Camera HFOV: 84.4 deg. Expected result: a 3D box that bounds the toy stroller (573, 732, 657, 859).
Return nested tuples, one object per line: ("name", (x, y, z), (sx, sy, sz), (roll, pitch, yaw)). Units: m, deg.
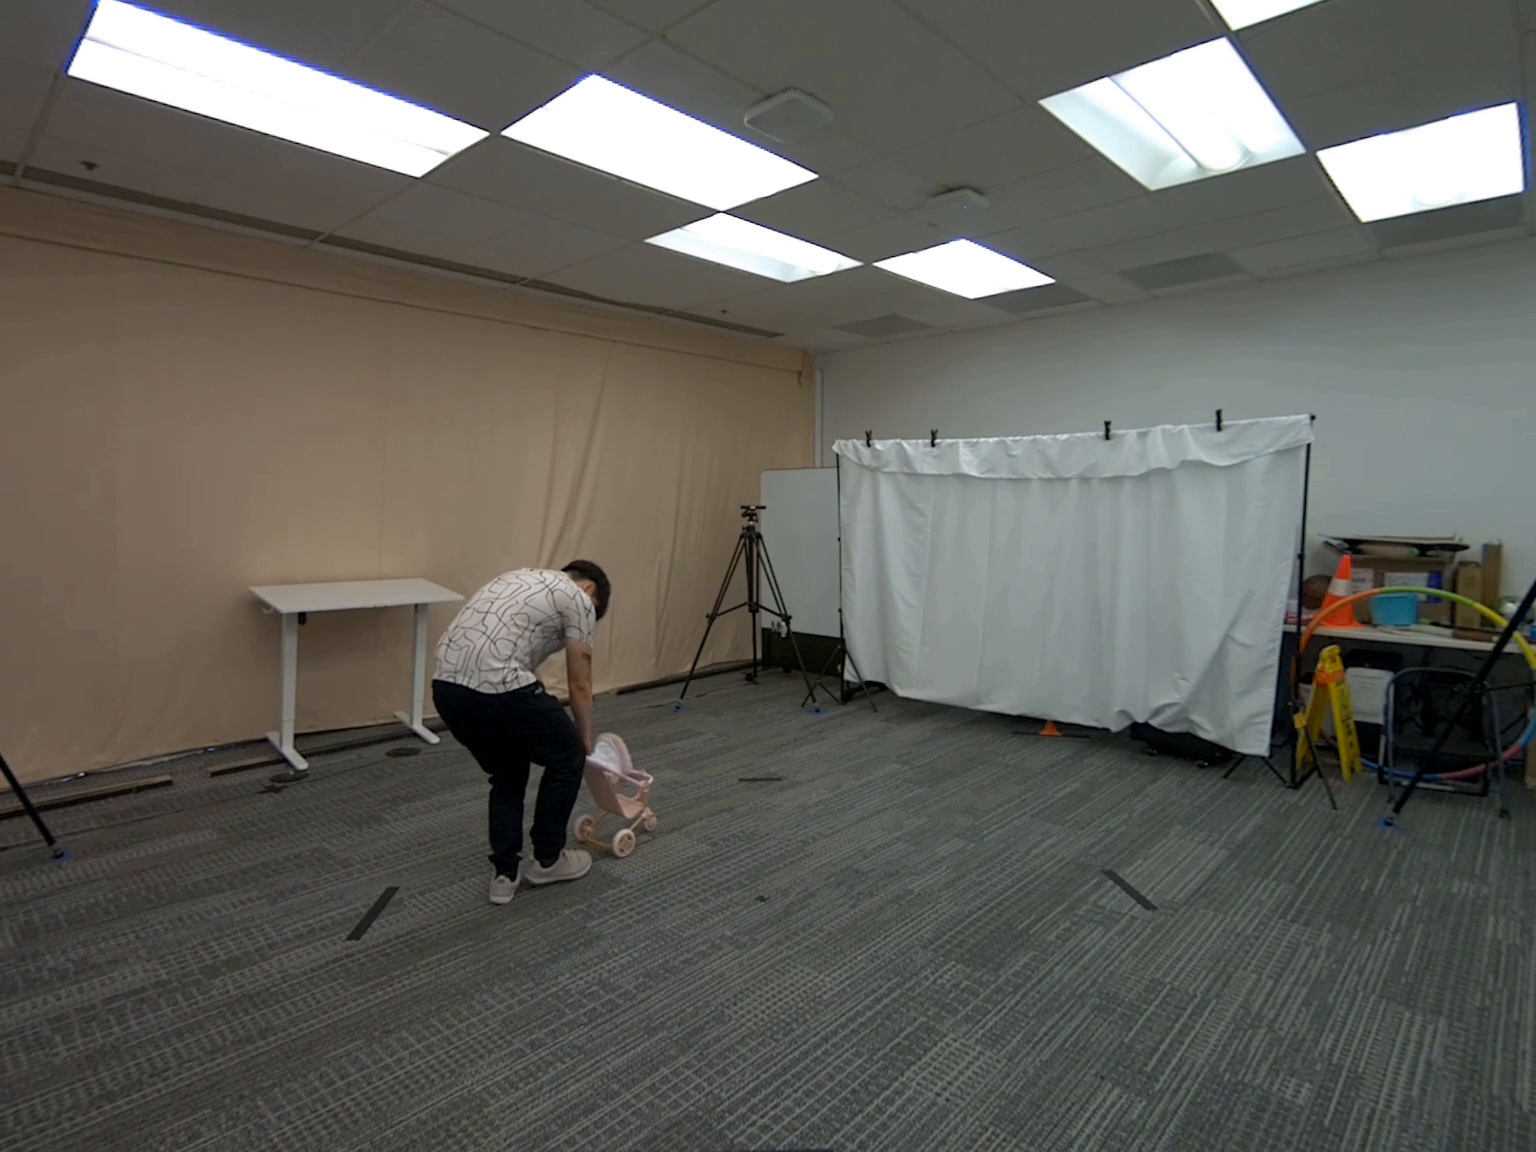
("toy stroller", (-0.634, 0.883, 3.469), (0.291, 0.529, 0.334), (3, 20, 45))
